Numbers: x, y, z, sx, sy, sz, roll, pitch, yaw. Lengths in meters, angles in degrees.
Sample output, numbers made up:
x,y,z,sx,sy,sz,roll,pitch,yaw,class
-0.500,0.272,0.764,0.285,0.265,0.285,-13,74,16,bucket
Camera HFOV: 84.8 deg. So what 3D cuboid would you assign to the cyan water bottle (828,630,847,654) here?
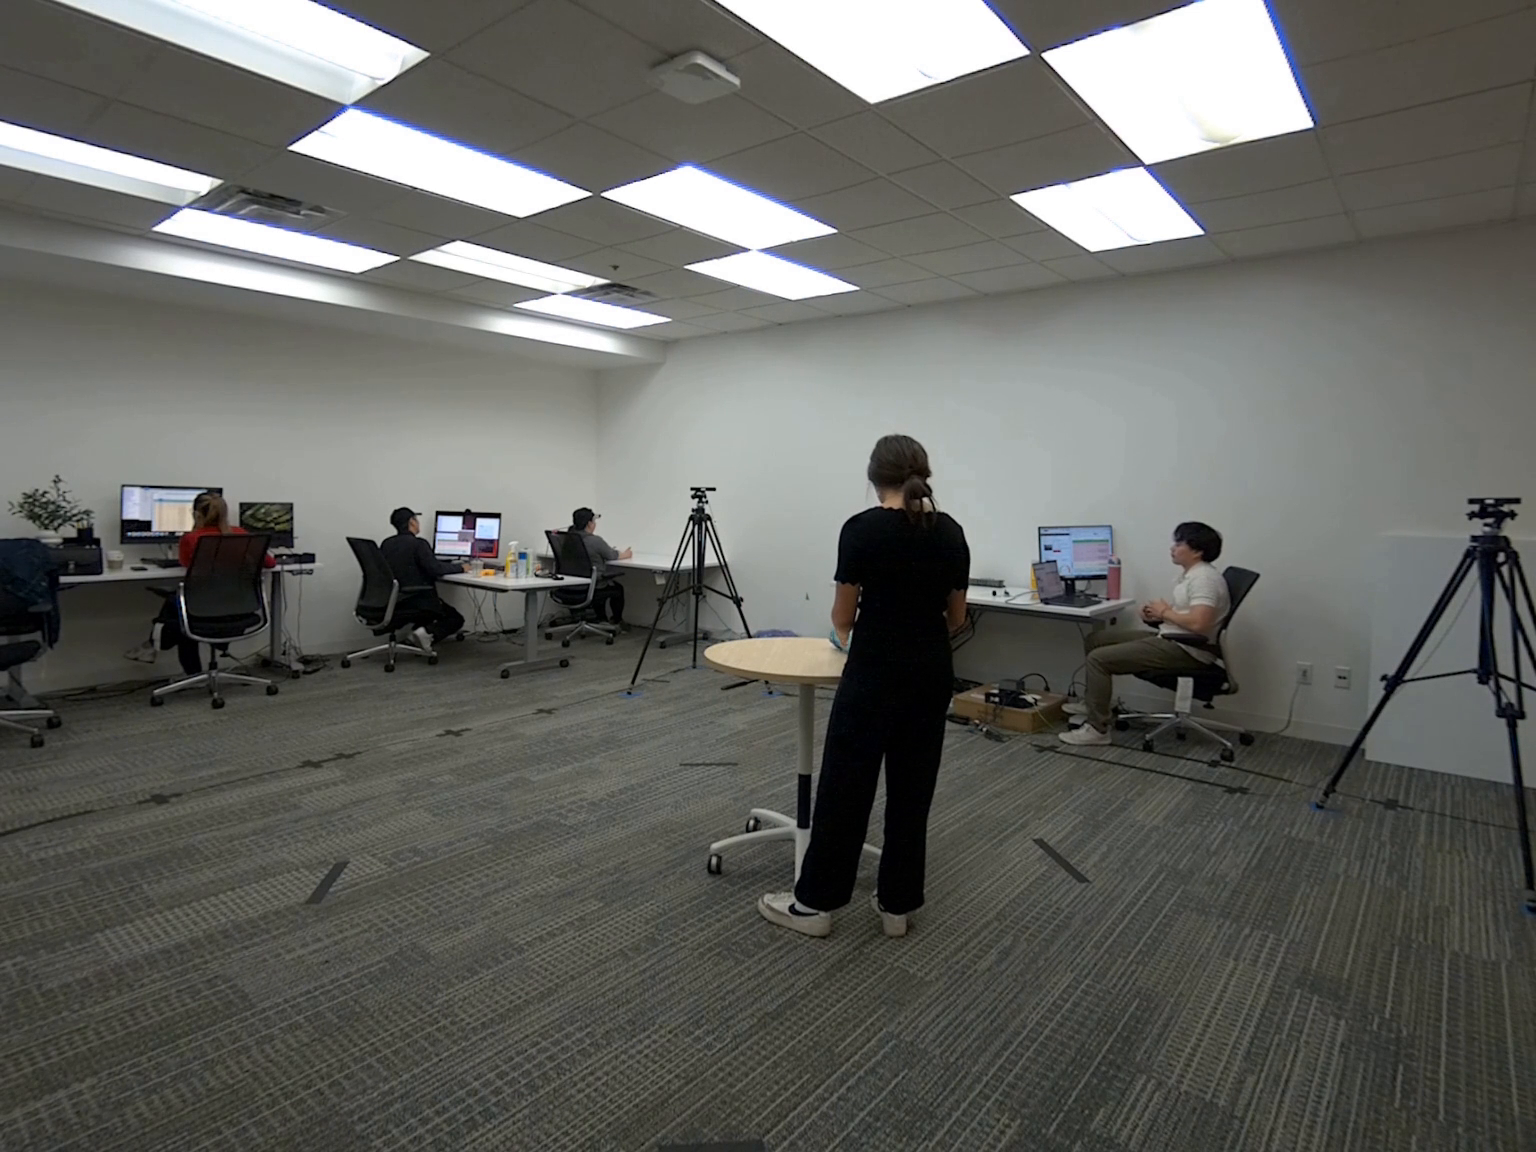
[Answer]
x,y,z,sx,sy,sz,roll,pitch,yaw,class
0.305,0.240,3.165,0.091,0.092,0.289,0,7,-17,cyan water bottle
